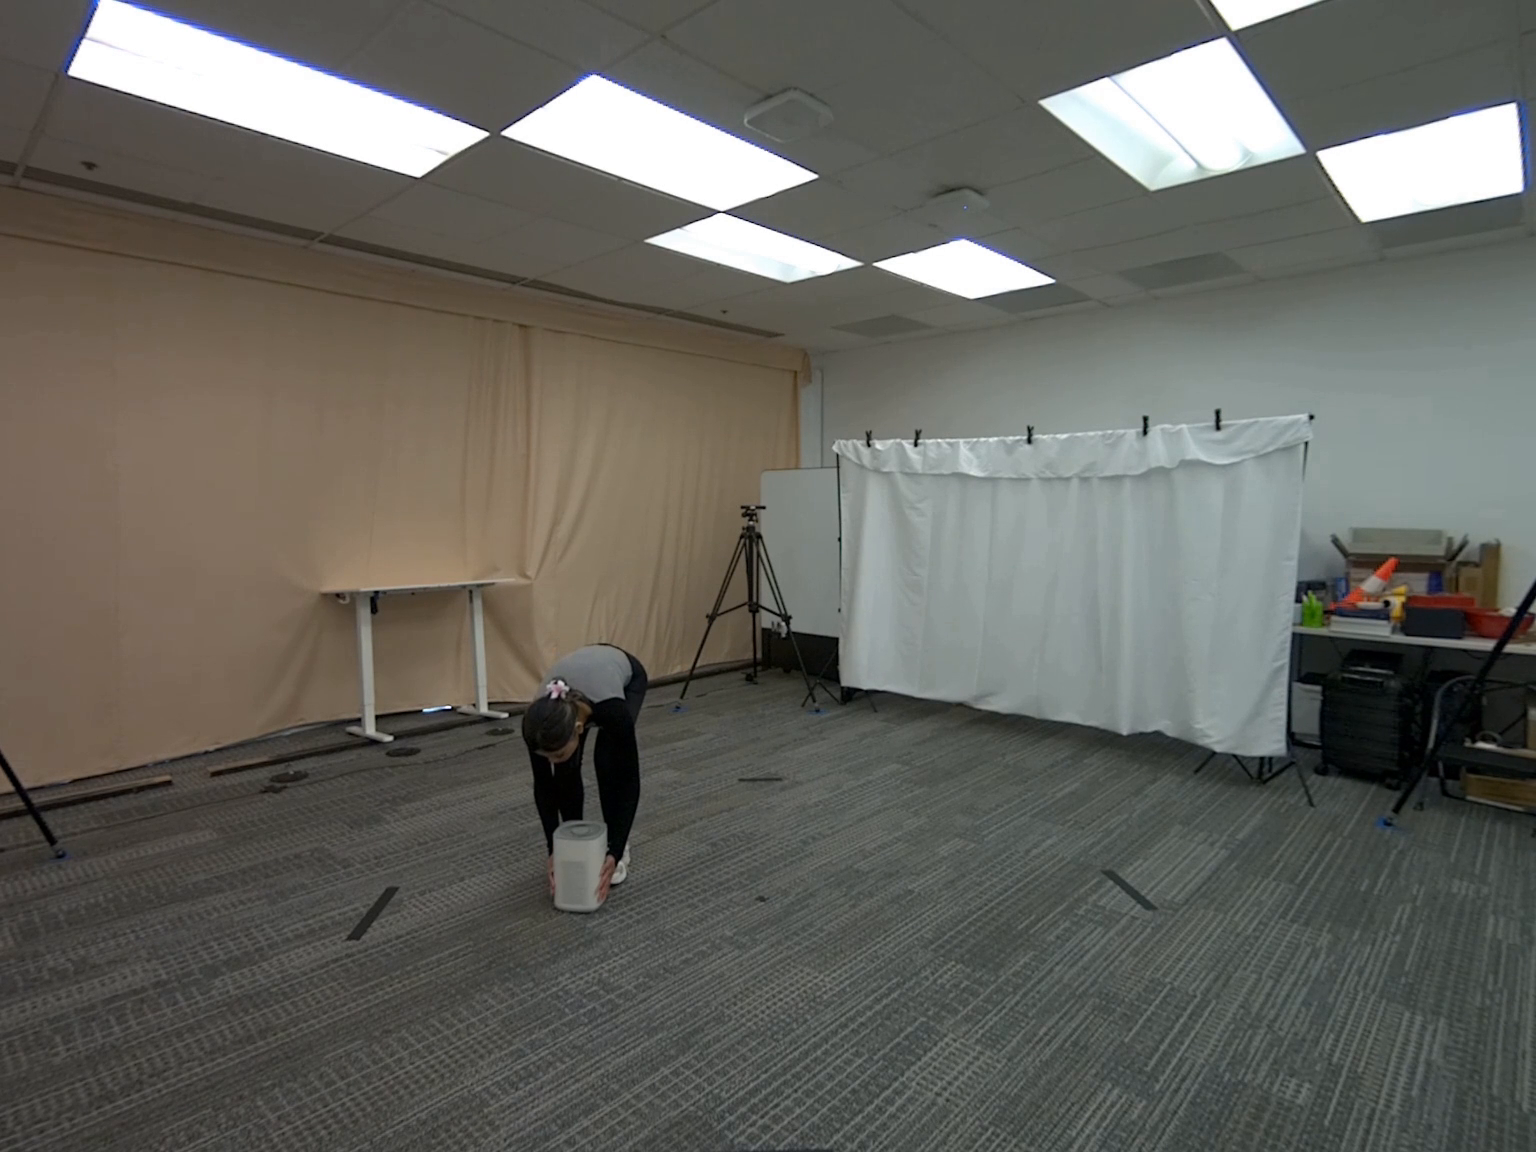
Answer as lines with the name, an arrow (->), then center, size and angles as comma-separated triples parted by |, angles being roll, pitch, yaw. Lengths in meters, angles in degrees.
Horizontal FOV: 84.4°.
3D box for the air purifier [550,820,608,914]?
air purifier -> -0.659, 1.015, 2.953 | 0.173, 0.265, 0.170 | 0, 4, 5
